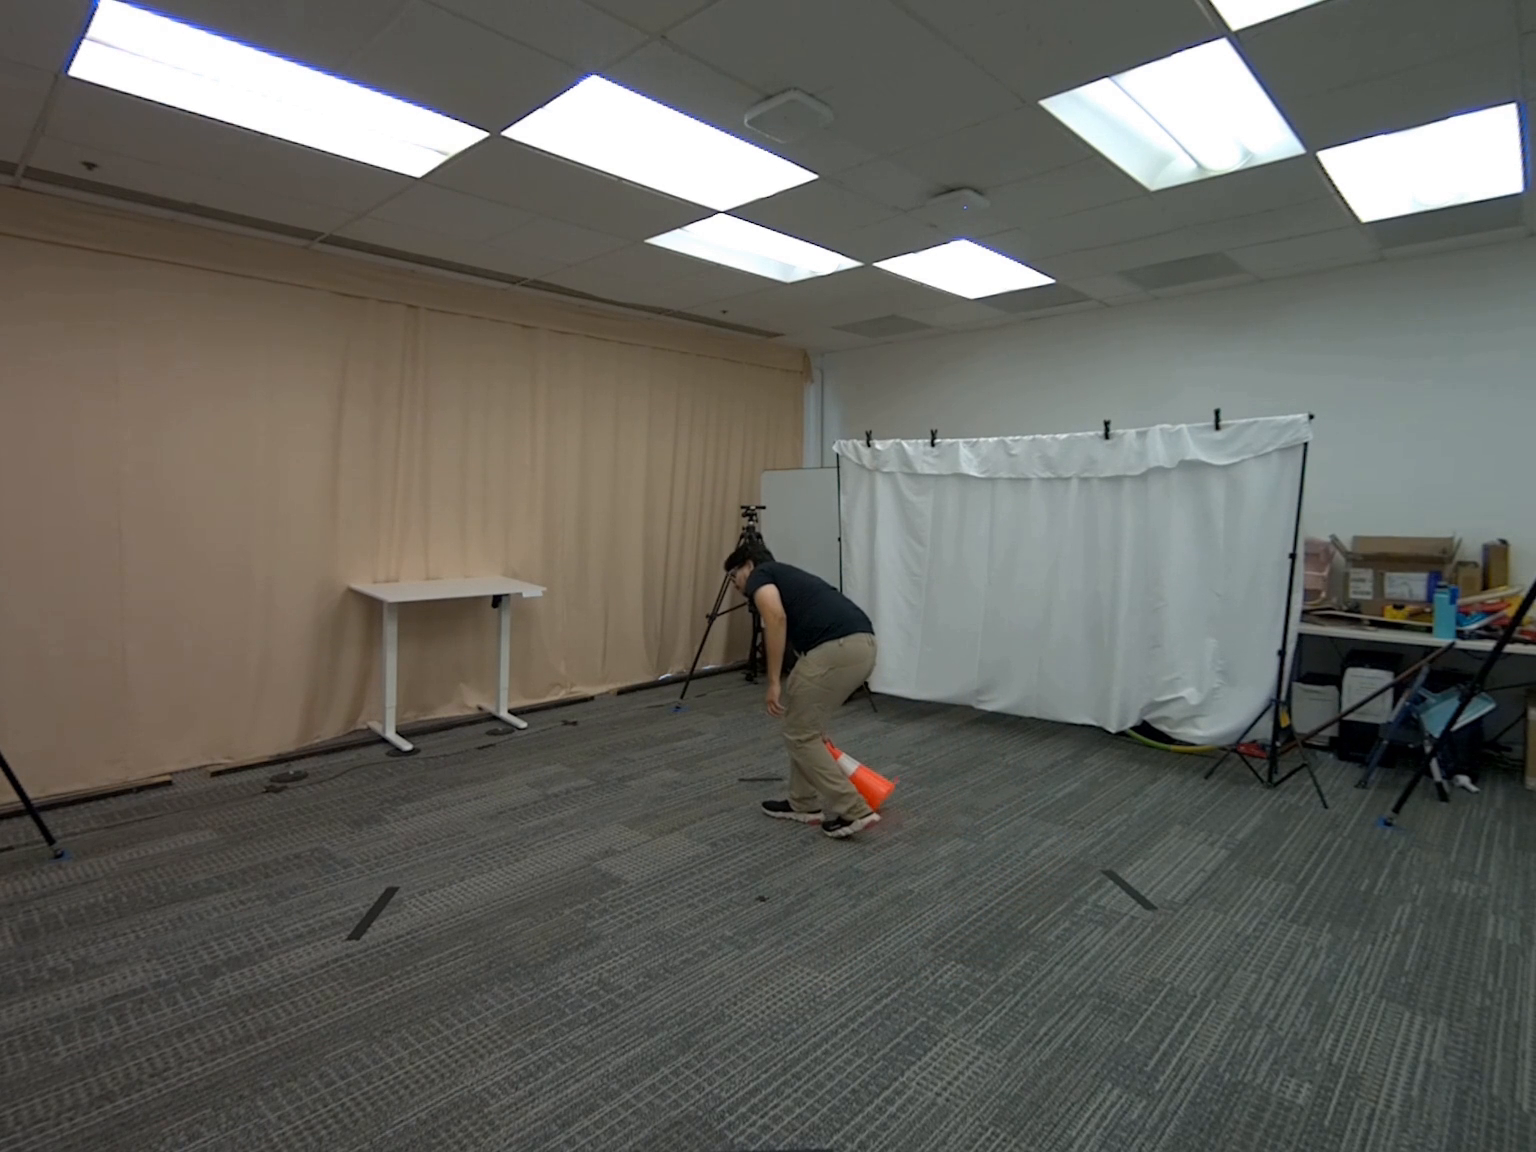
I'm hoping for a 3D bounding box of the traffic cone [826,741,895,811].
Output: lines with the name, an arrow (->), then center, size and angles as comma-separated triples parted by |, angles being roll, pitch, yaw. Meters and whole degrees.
traffic cone -> 0.379, 0.880, 3.844 | 0.390, 0.205, 0.200 | 41, 5, 13
